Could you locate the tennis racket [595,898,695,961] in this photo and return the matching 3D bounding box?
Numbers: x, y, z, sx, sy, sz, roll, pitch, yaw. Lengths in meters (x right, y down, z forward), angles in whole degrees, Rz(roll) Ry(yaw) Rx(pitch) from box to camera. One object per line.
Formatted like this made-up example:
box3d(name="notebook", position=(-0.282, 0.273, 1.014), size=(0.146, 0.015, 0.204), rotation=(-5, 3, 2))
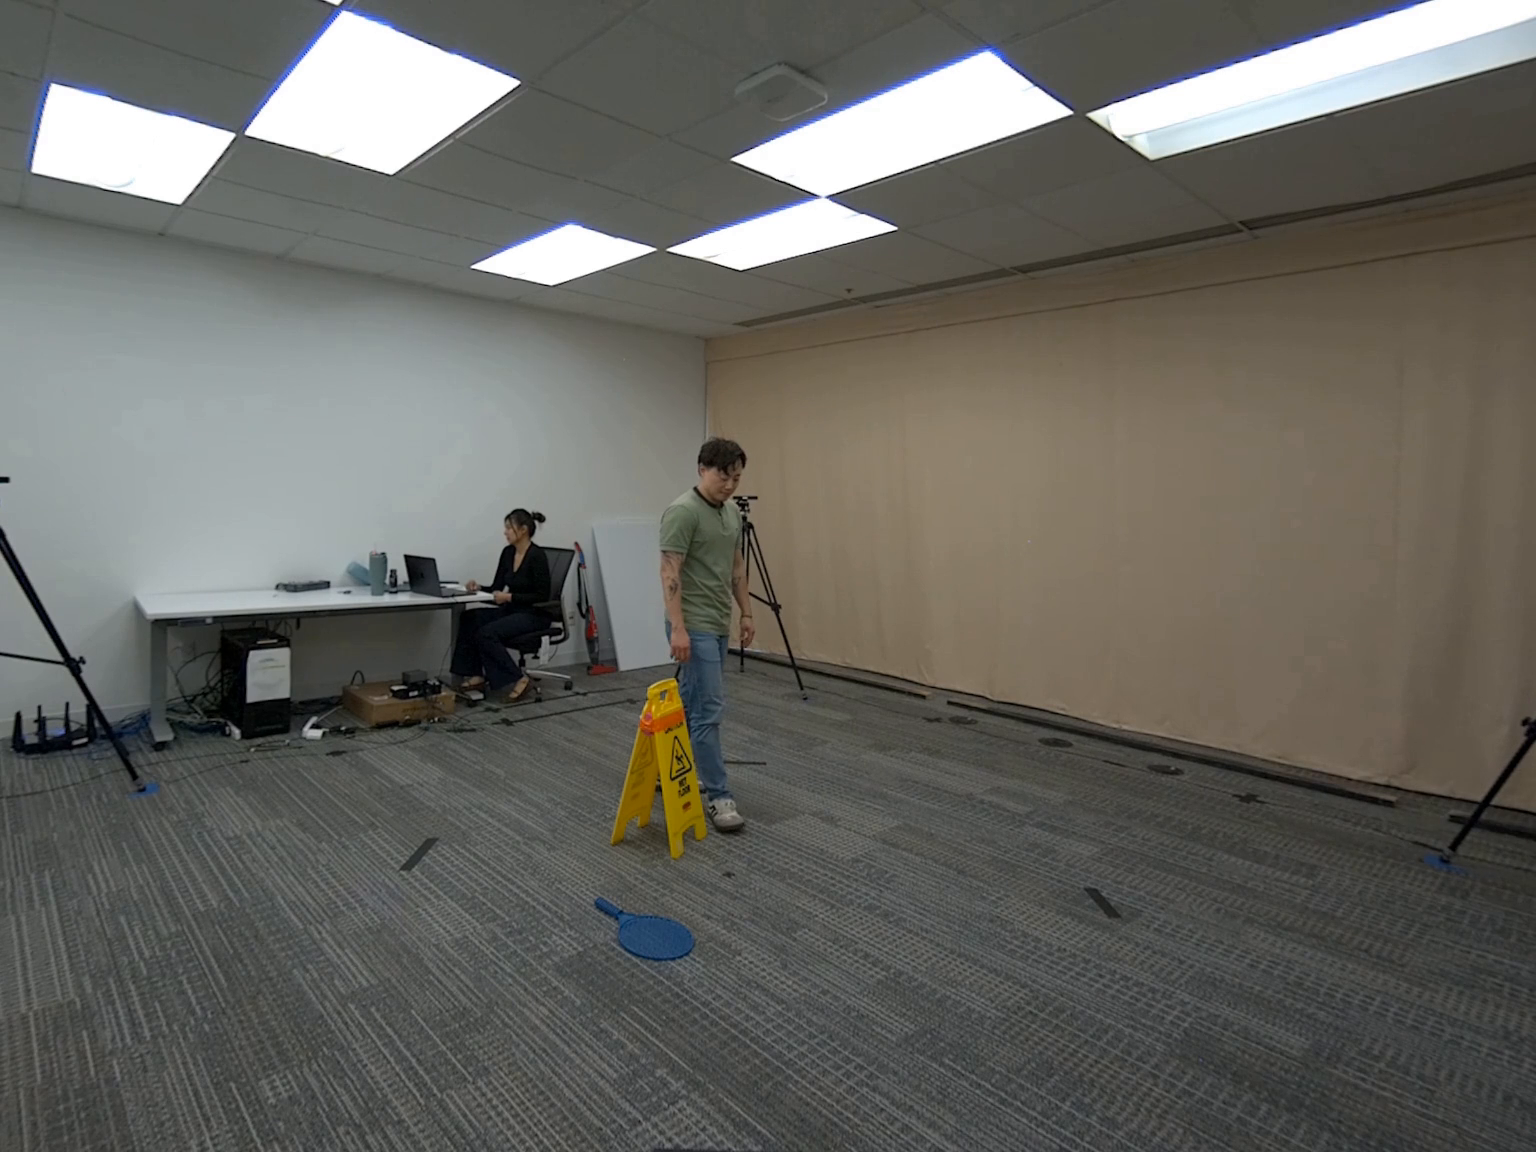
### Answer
box3d(name="tennis racket", position=(-0.424, 1.124, 2.693), size=(0.209, 0.031, 0.444), rotation=(-5, 9, -45))
